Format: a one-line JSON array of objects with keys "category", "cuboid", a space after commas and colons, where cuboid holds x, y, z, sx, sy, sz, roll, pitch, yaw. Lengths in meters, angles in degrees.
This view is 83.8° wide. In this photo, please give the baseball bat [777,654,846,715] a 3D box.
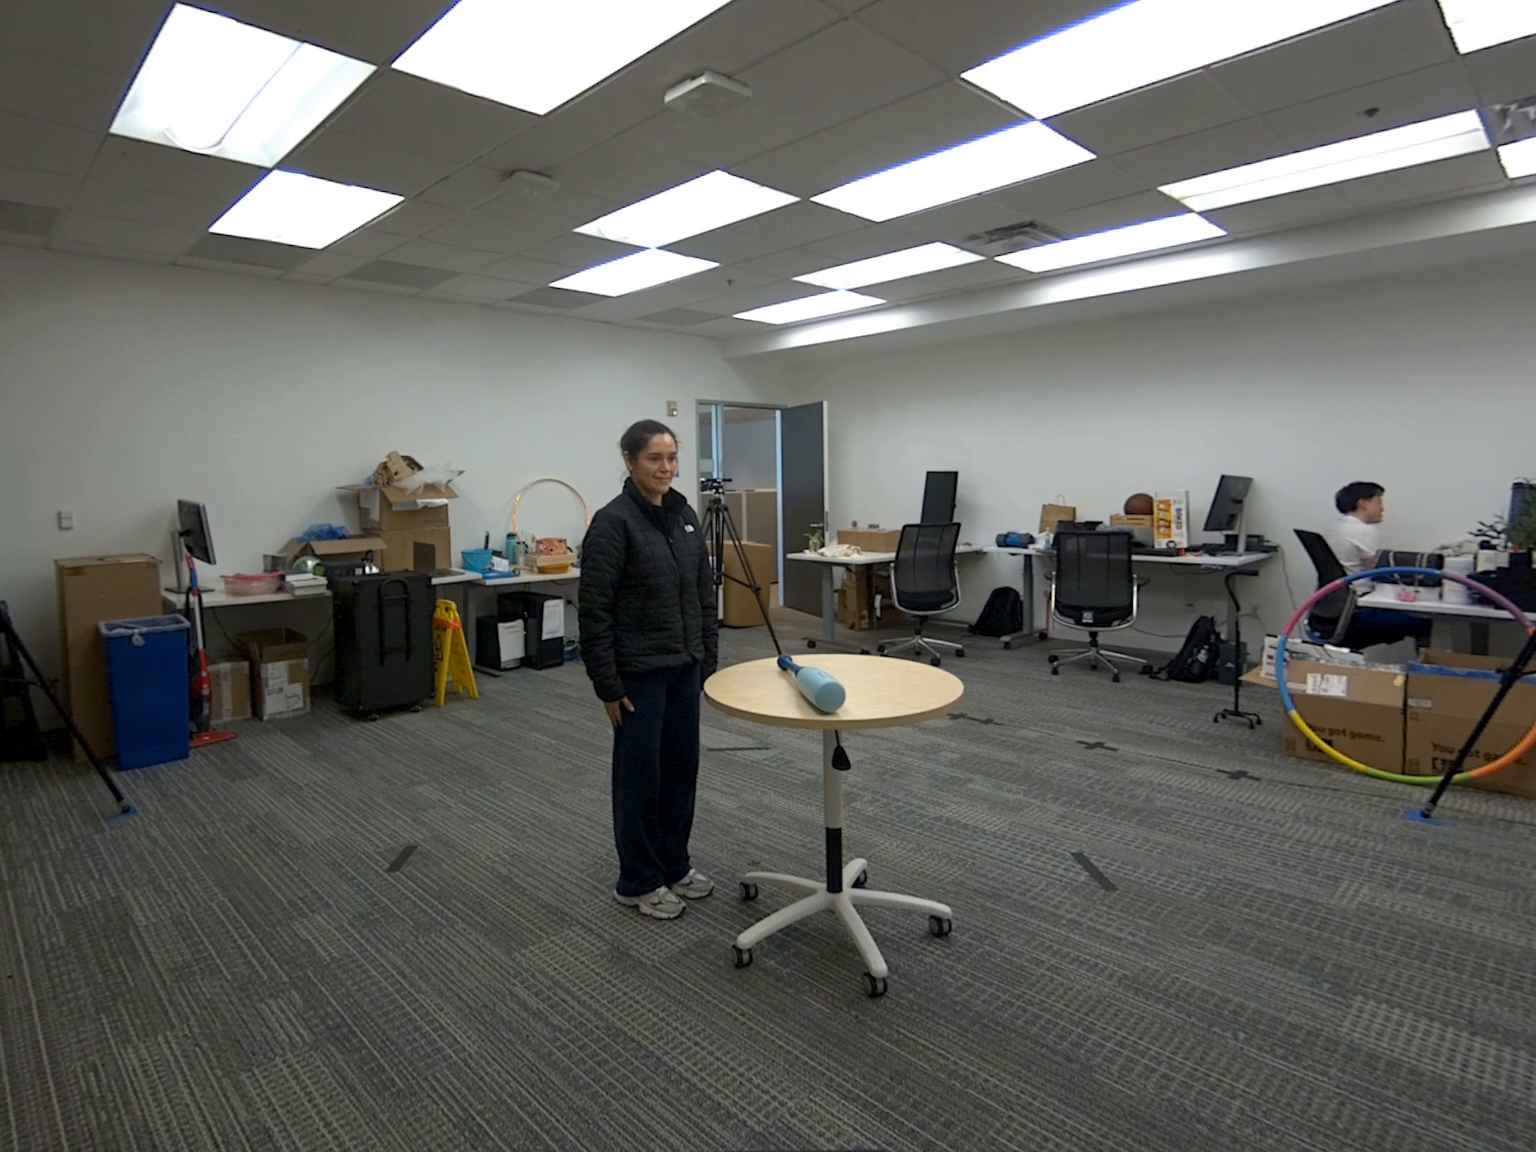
[{"category": "baseball bat", "cuboid": [0.138, 0.306, 2.463, 0.088, 0.089, 0.548, -2, 3, -10]}]
